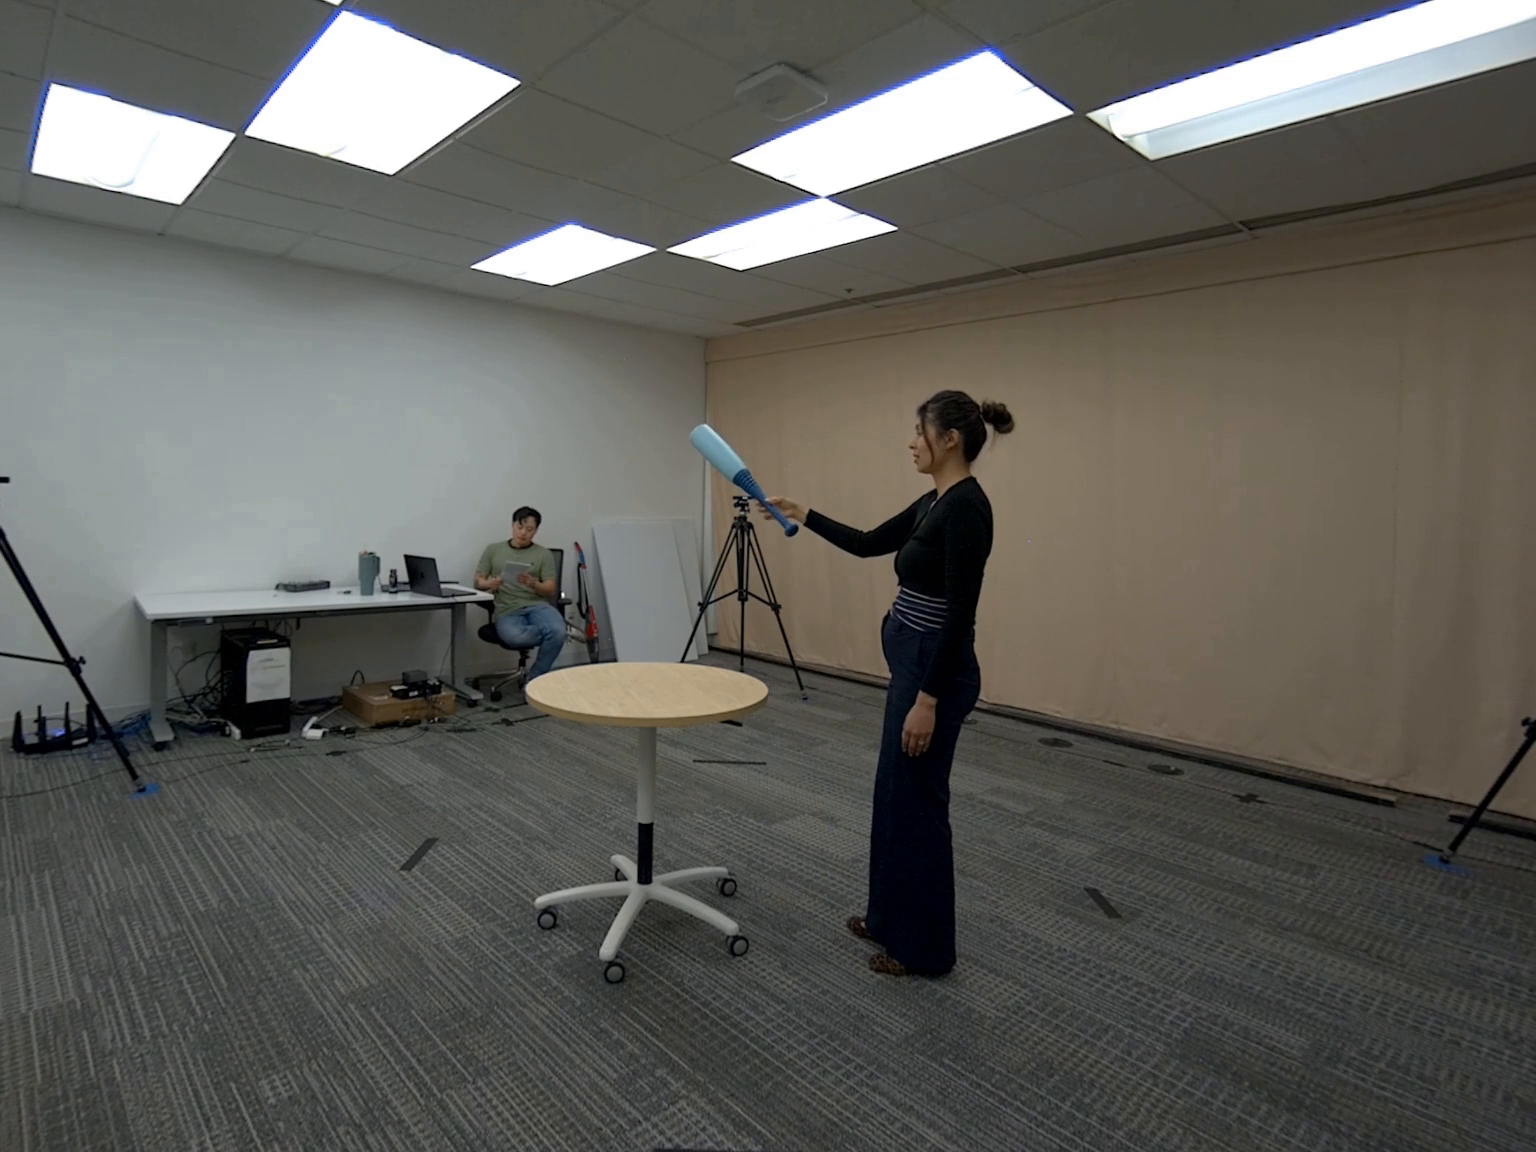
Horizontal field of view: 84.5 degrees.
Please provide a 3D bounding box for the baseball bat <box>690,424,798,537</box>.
[{"bbox_3d":[-0.084,-0.320,2.846,0.087,0.089,0.557,-3,45,-52],"label":"baseball bat"}]
